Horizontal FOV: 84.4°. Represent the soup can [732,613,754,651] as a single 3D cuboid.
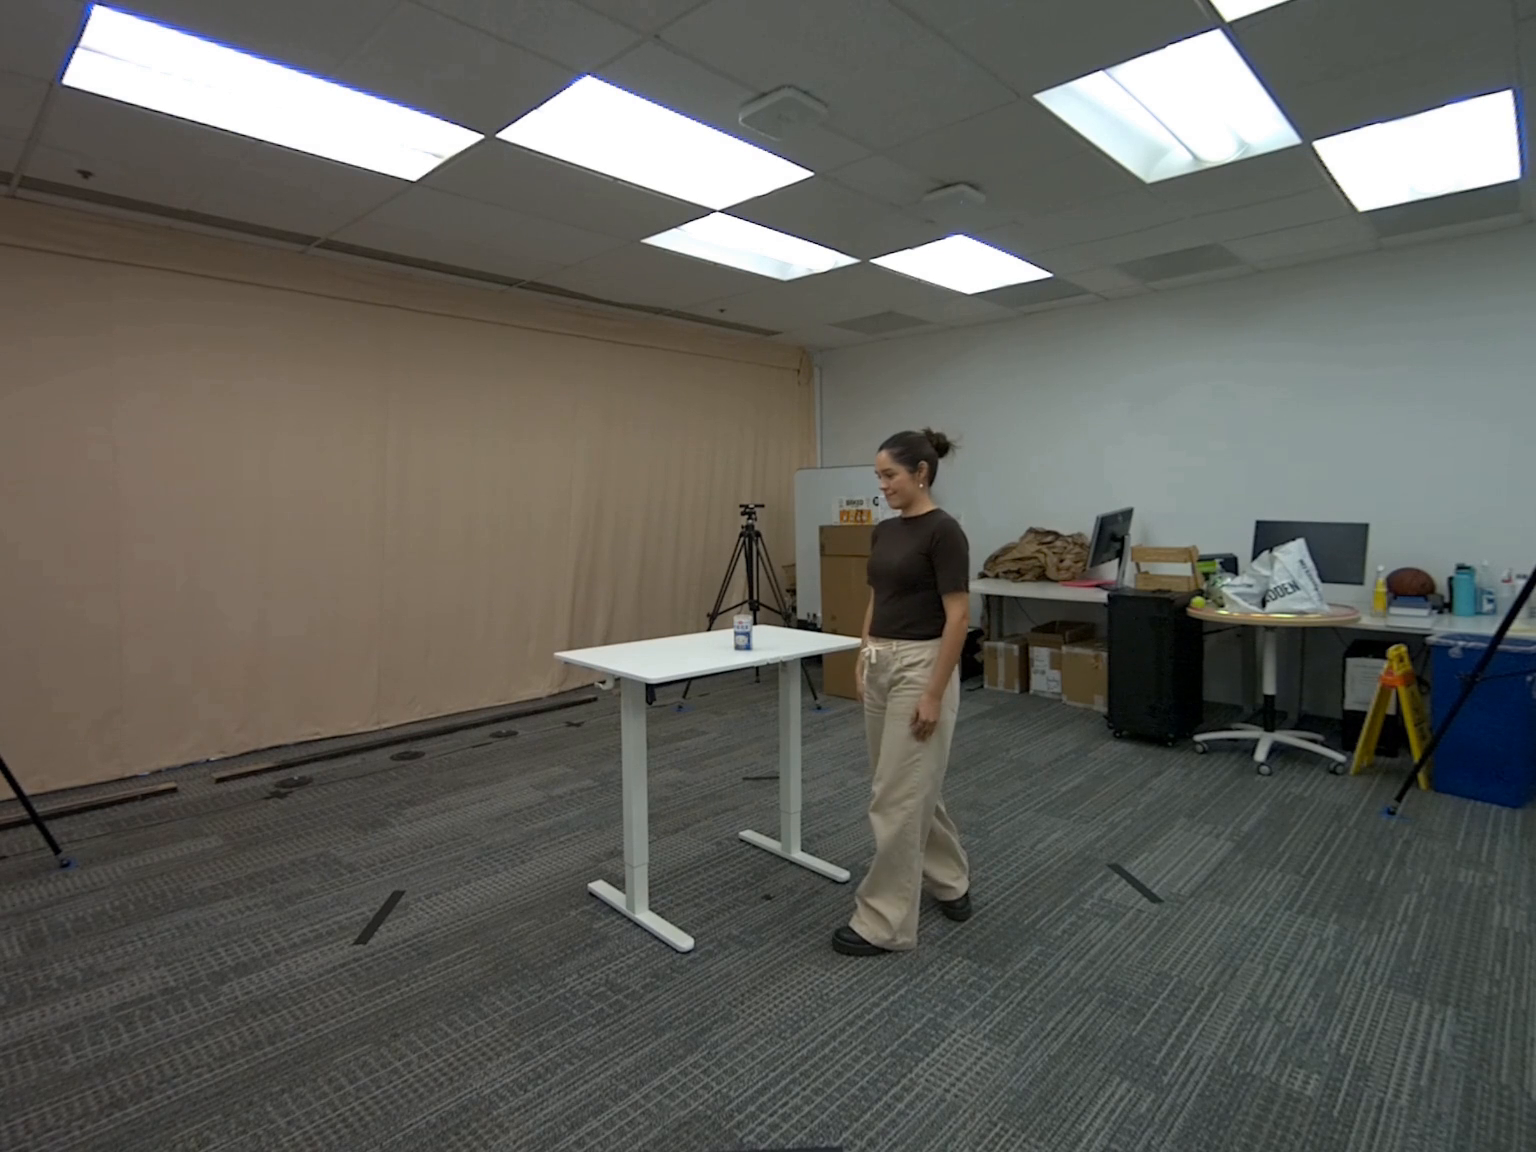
[{"bbox_3d":[-0.082,0.202,2.965,0.067,0.121,0.067,1,4,-2],"label":"soup can"}]
